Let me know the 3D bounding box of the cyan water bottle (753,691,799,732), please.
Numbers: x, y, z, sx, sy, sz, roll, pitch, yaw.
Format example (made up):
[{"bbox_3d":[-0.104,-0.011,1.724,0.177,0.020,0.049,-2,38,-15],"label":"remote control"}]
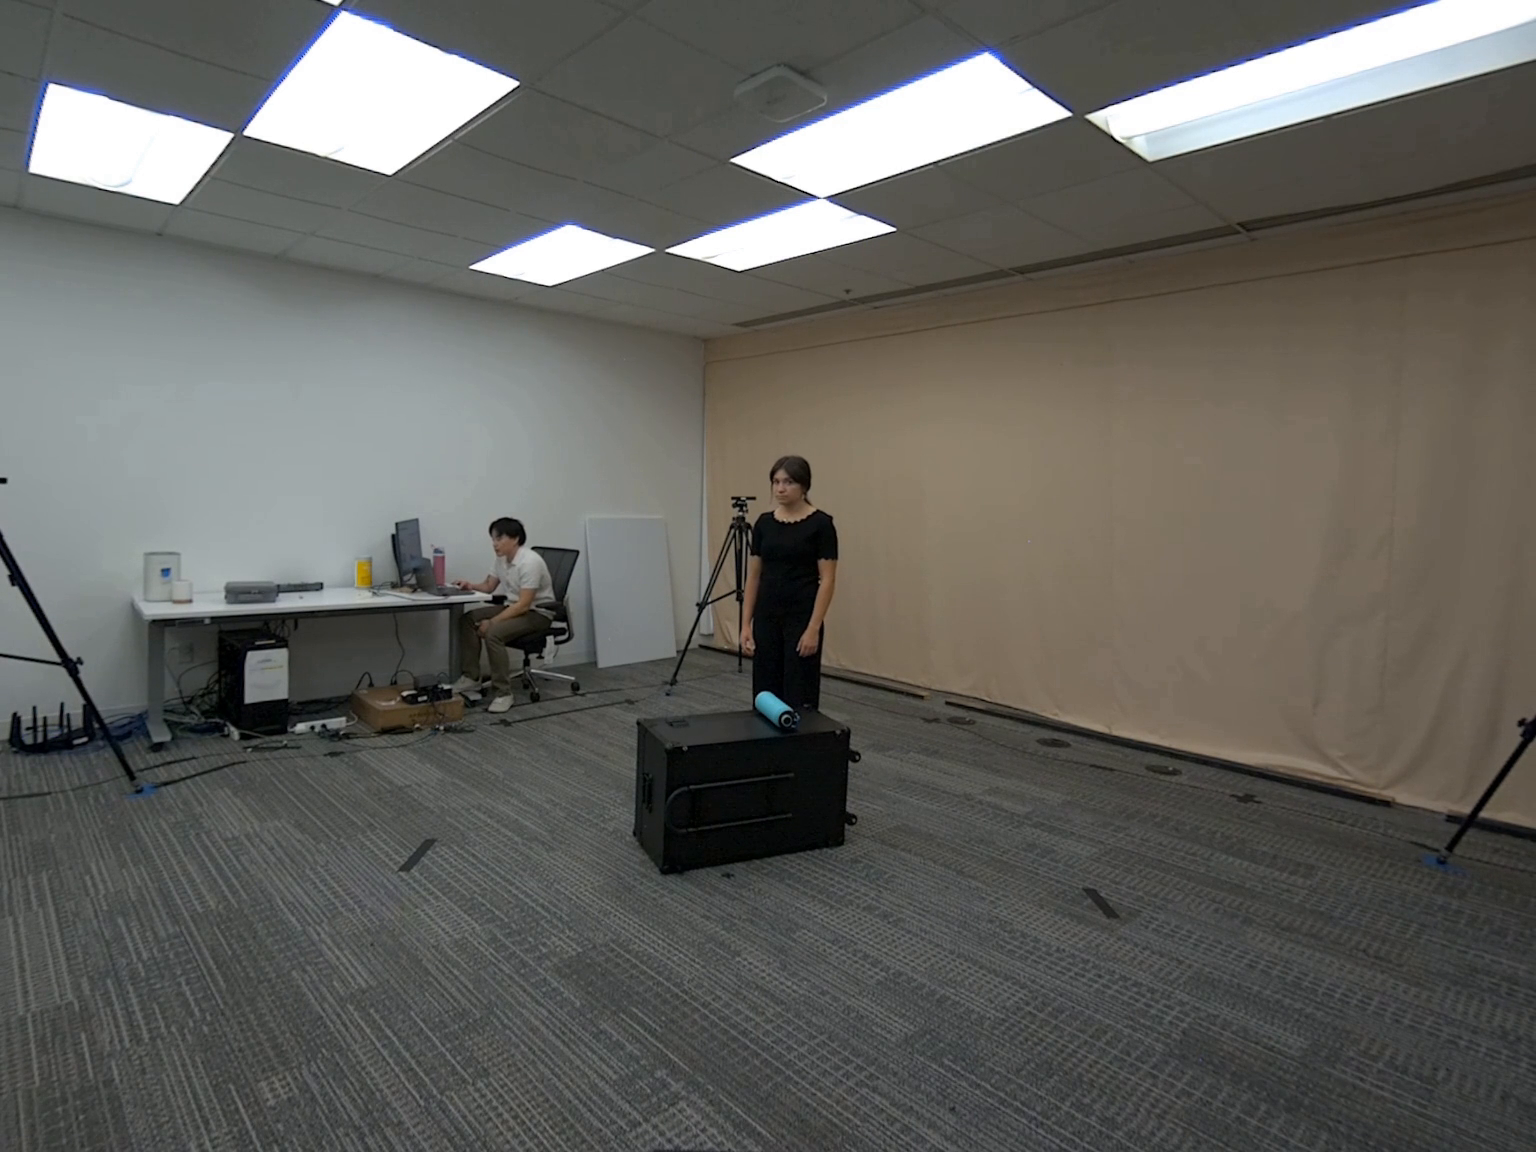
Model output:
[{"bbox_3d":[0.026,0.548,3.410,0.091,0.092,0.289,0,8,-20],"label":"cyan water bottle"}]
